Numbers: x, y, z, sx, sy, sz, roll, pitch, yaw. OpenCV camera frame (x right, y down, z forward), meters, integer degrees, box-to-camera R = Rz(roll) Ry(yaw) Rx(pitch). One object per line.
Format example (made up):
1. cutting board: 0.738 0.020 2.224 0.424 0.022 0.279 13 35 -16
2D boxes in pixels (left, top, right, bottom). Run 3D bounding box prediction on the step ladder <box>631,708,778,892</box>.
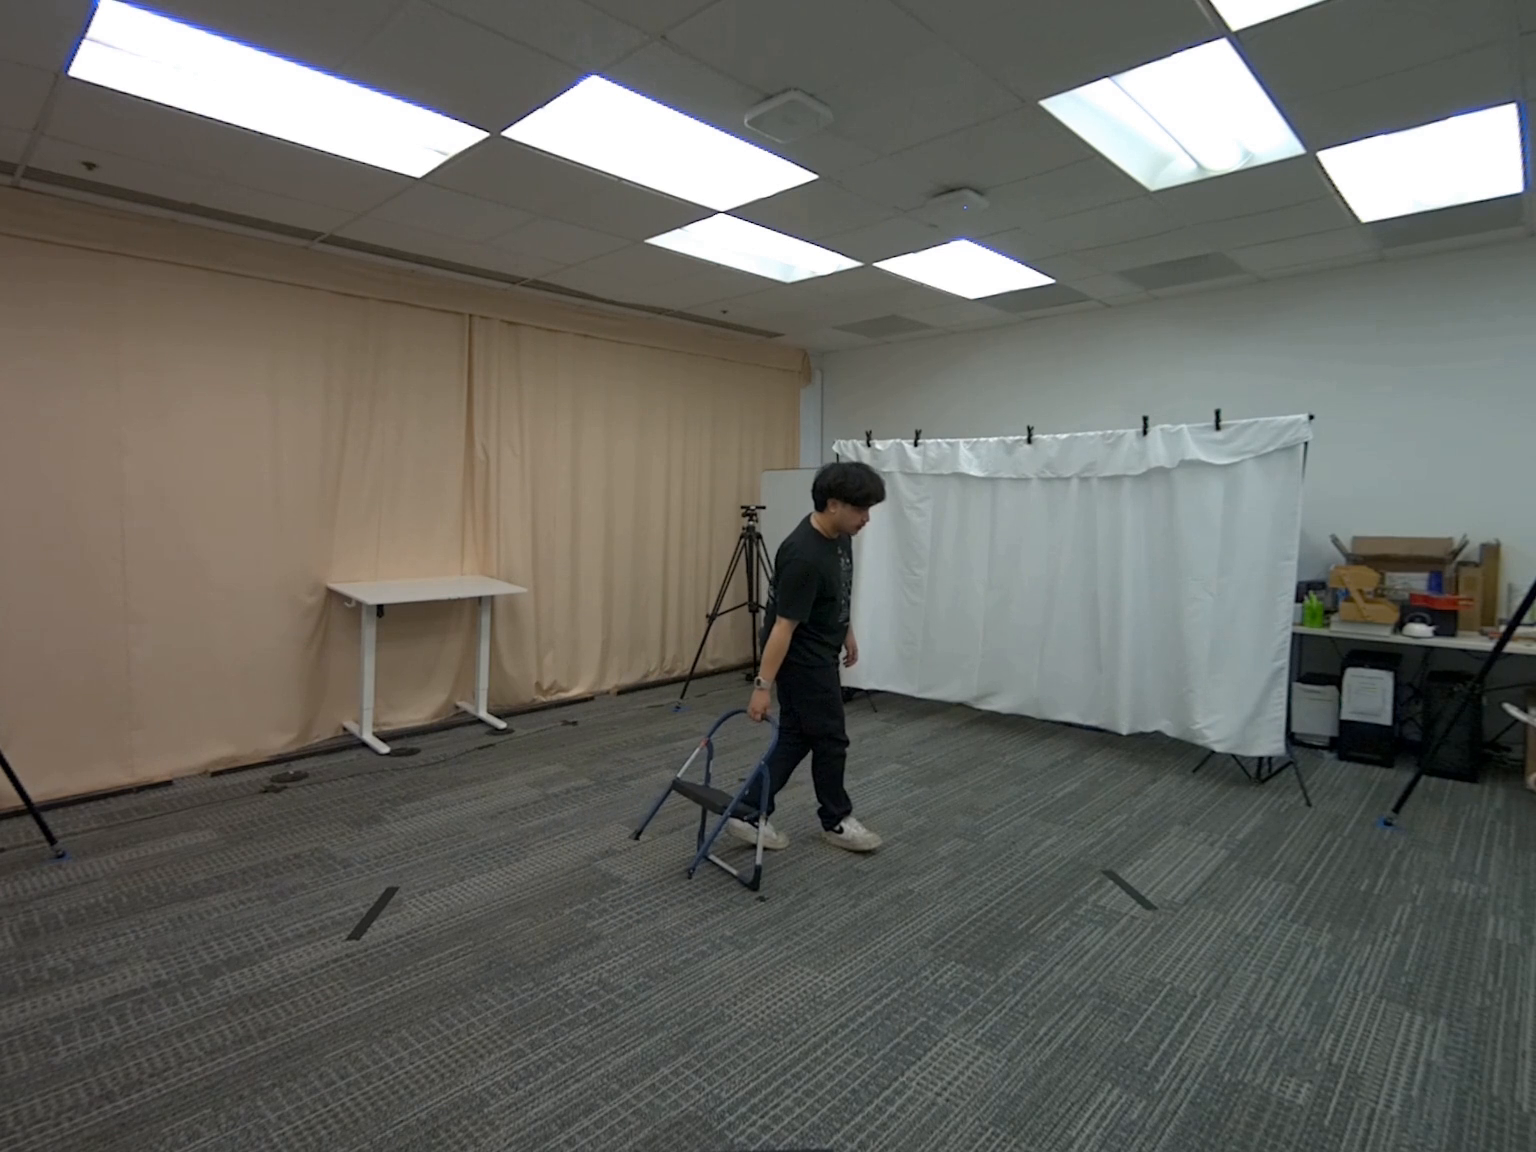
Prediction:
1. step ladder: -0.187 0.786 3.171 0.338 0.607 0.444 25 -11 -33
